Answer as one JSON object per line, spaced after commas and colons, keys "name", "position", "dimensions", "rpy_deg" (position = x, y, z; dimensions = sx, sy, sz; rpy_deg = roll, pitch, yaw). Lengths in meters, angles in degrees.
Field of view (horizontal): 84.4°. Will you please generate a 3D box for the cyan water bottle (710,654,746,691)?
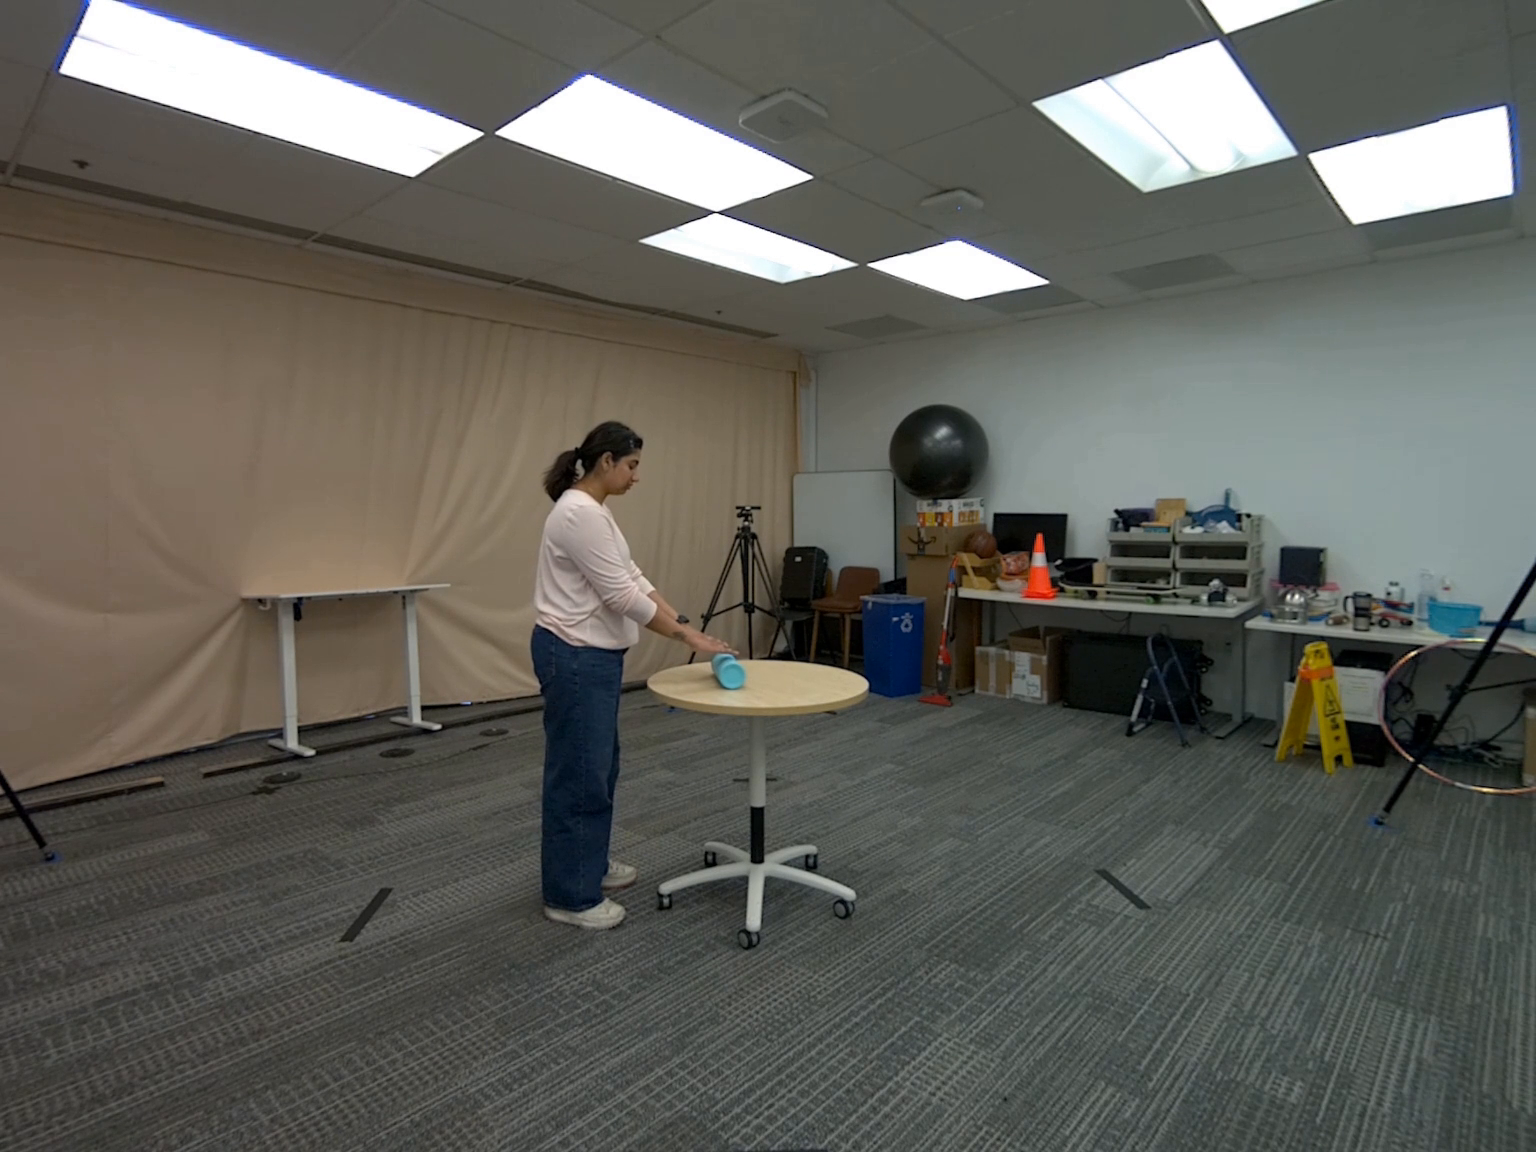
{"name": "cyan water bottle", "position": [-0.138, 0.321, 2.924], "dimensions": [0.091, 0.092, 0.286], "rpy_deg": [-1, 5, -10]}
